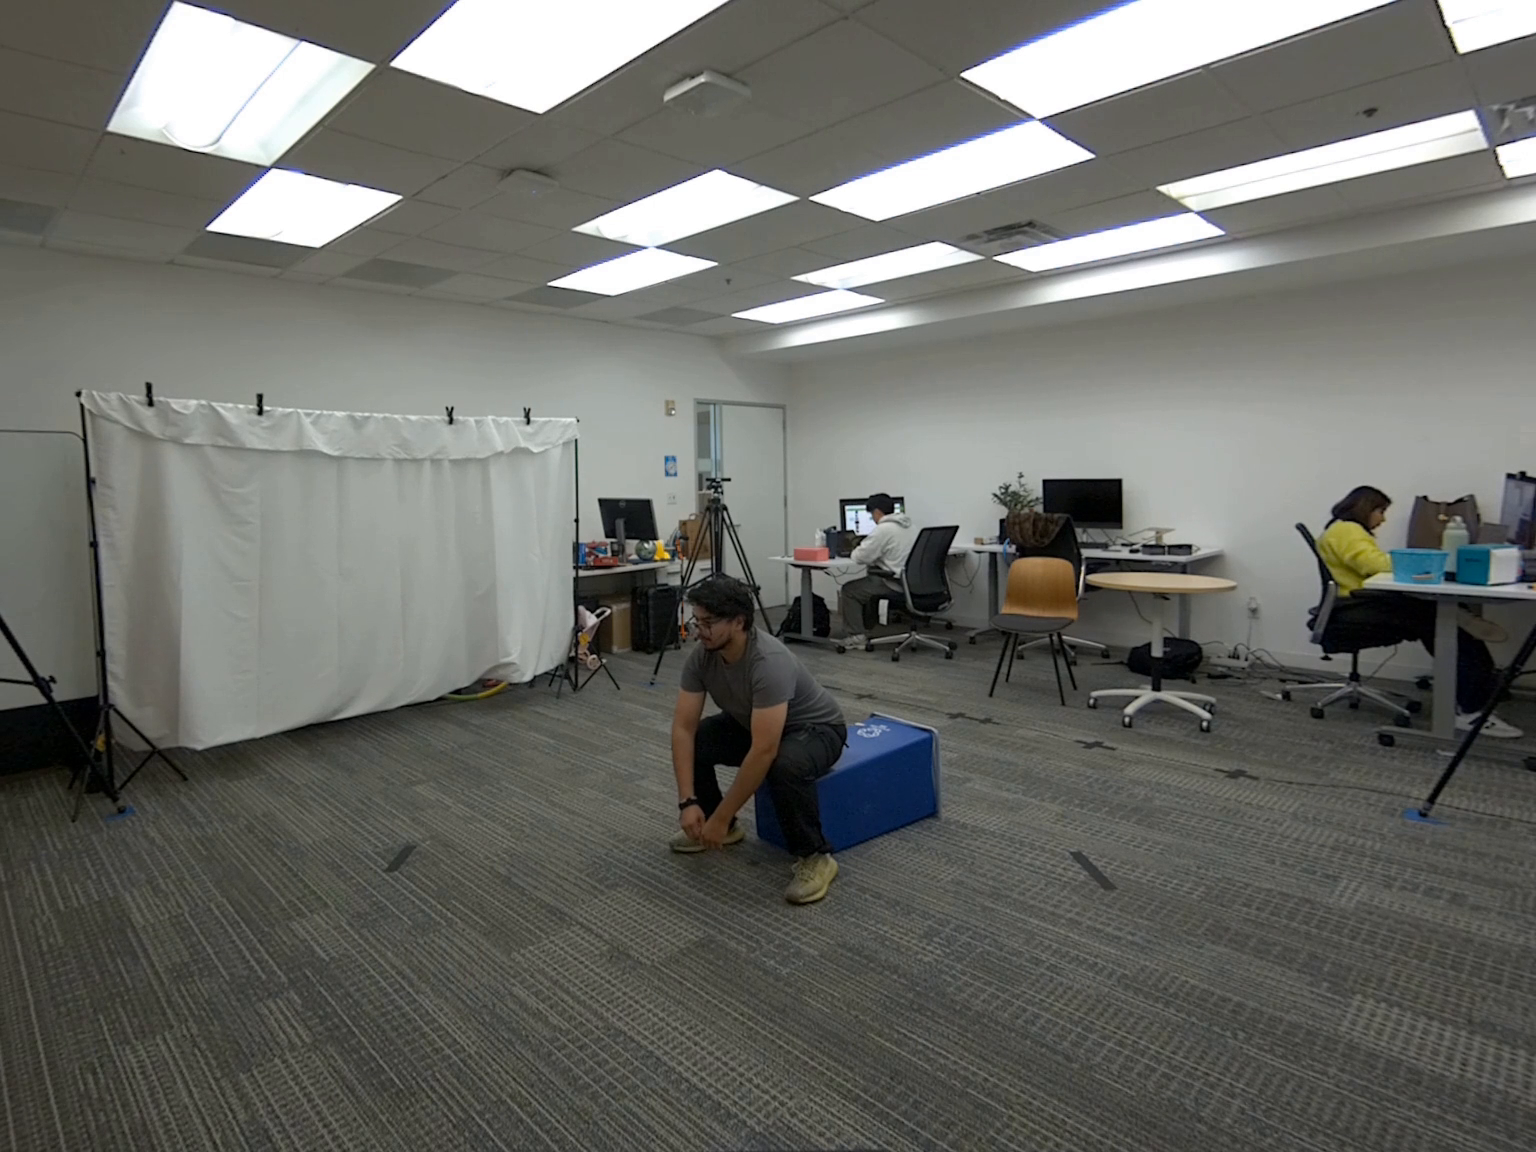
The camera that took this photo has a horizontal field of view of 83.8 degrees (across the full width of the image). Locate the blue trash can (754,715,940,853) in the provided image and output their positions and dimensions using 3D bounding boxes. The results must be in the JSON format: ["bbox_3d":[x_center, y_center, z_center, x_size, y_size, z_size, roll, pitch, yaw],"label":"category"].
[{"bbox_3d":[0.323,0.826,3.408,0.696,0.372,0.389,-8,8,-39],"label":"blue trash can"}]
